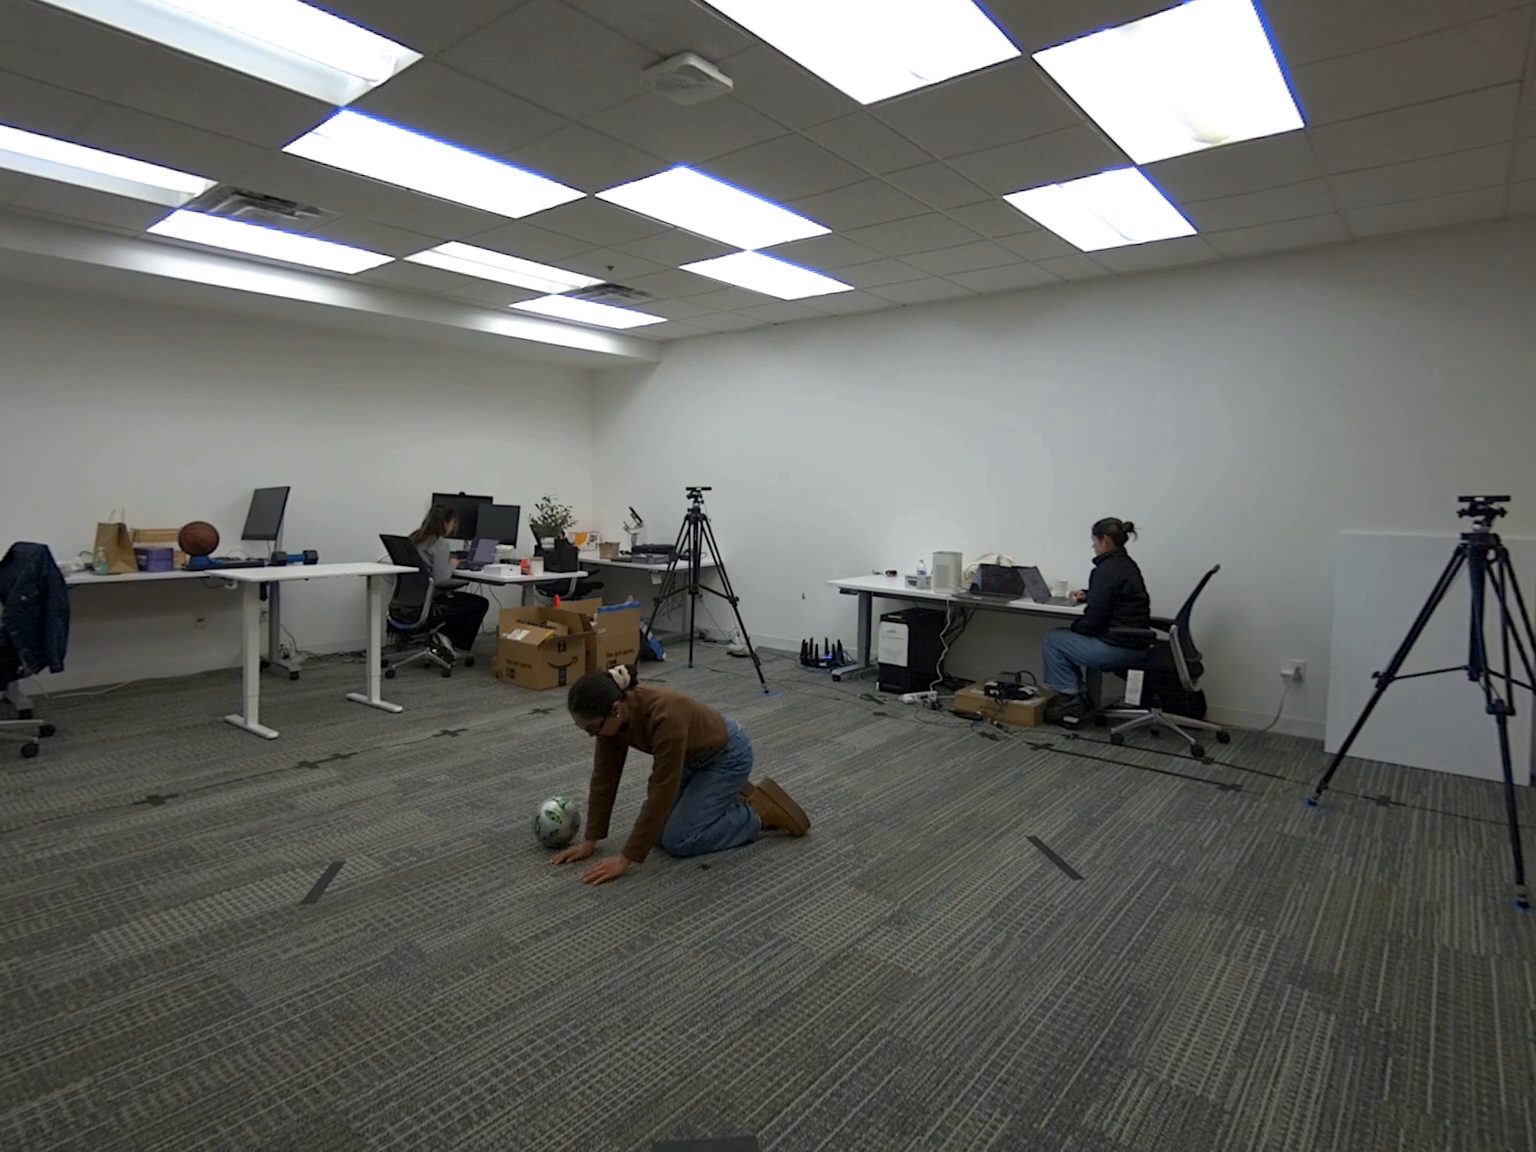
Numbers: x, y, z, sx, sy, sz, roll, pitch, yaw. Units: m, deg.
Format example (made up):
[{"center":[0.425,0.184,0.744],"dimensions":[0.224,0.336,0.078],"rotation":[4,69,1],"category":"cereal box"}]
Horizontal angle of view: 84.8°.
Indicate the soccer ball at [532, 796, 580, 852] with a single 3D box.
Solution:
[{"center":[-0.829,0.946,3.293],"dimensions":[0.187,0.187,0.188],"rotation":[1,4,-2],"category":"soccer ball"}]
